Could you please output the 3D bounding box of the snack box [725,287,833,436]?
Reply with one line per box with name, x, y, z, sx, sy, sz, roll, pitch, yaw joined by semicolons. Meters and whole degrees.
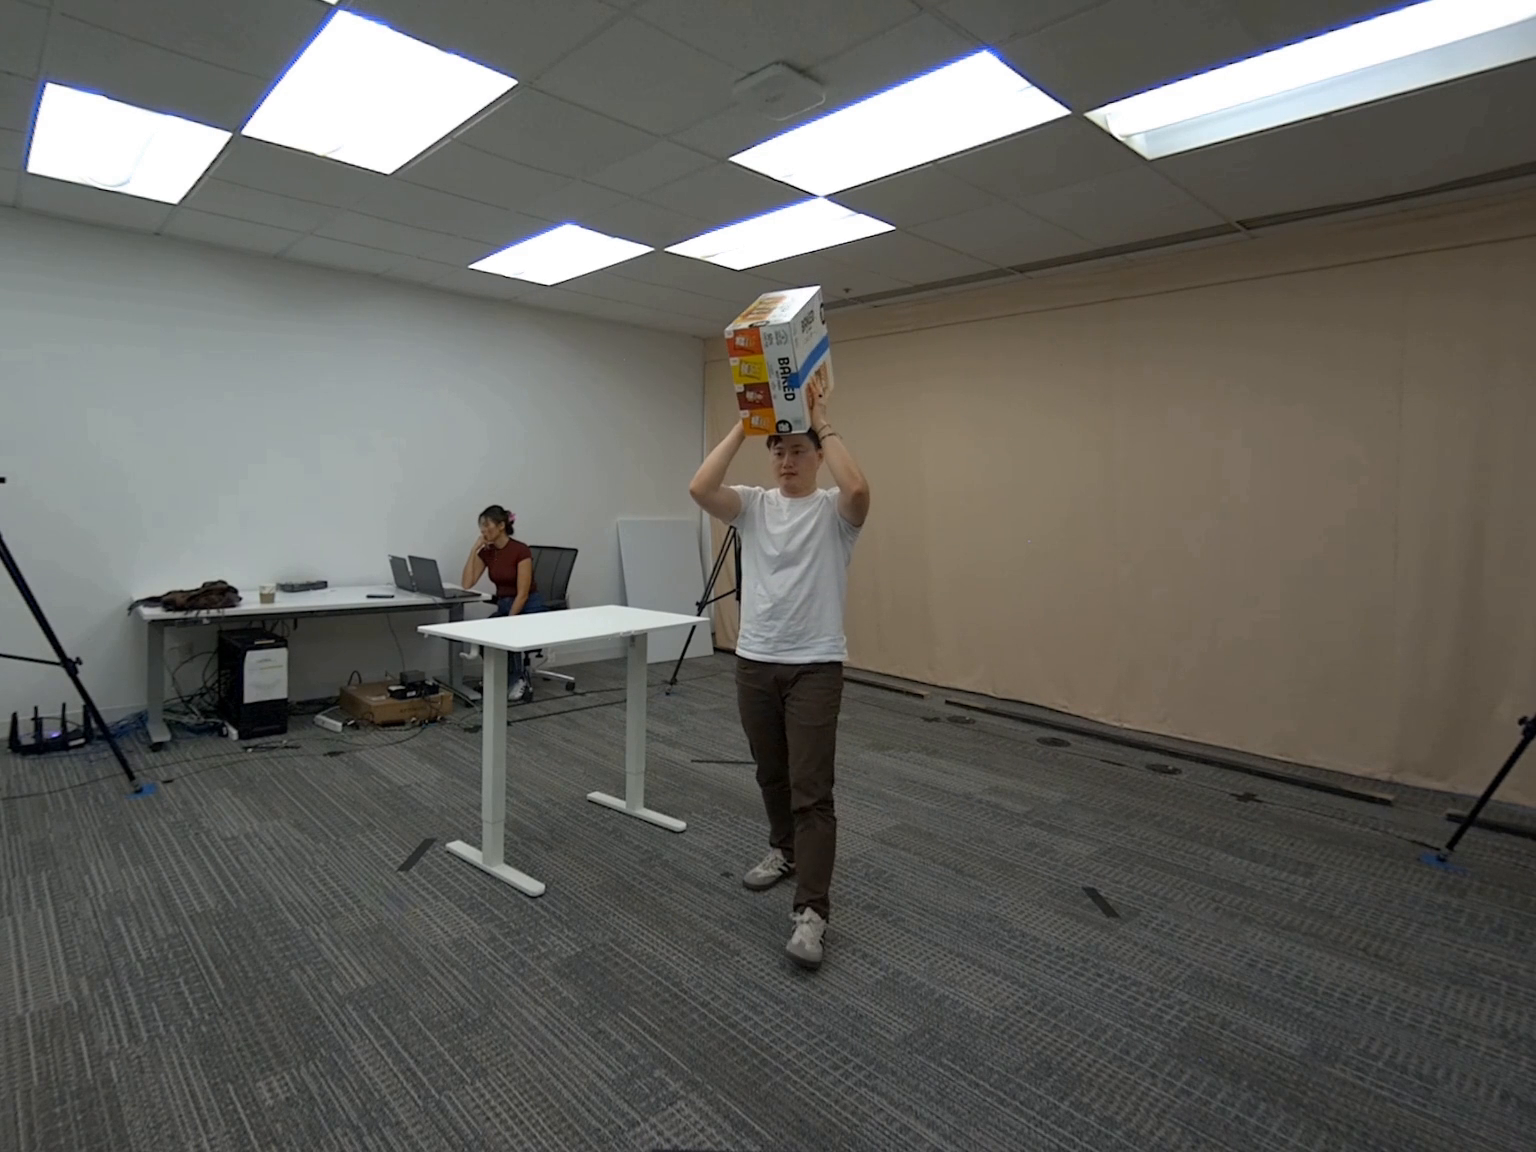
snack box;0.045;-0.686;2.666;0.209;0.333;0.408;-1;31;19
